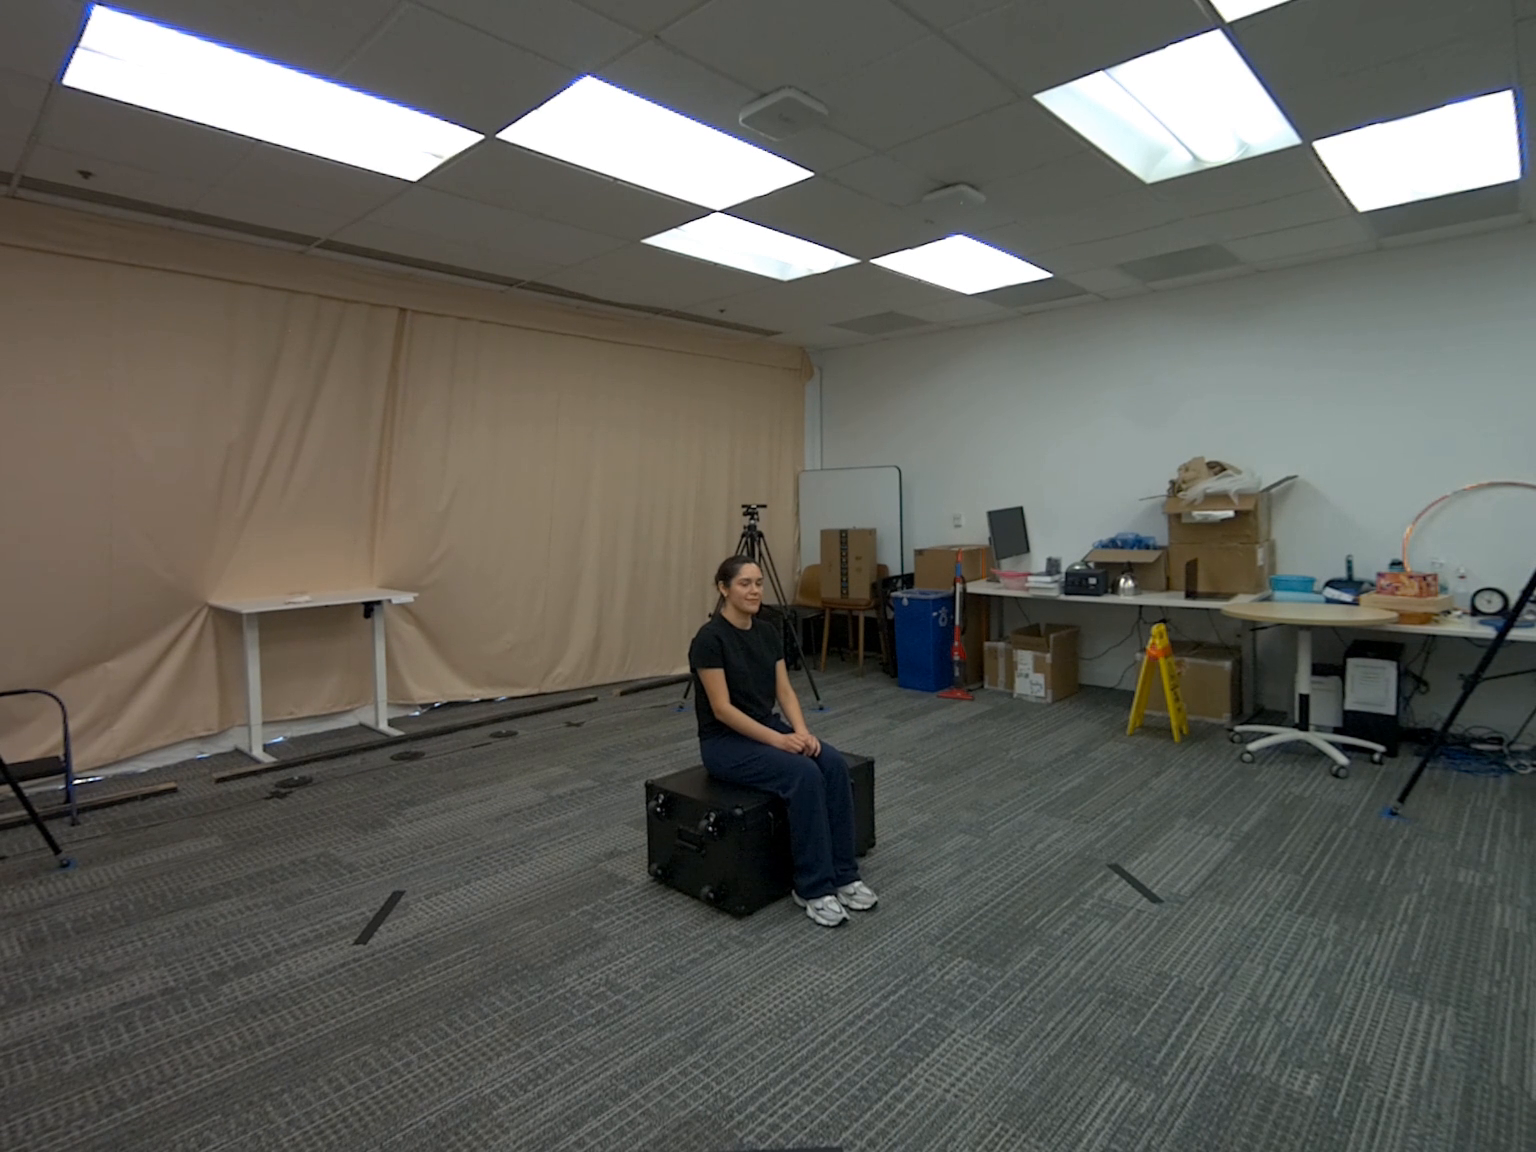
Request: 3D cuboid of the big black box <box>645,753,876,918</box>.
[{"bbox_3d":[-0.022,0.932,3.216,0.538,0.395,0.835,2,5,43],"label":"big black box"}]
